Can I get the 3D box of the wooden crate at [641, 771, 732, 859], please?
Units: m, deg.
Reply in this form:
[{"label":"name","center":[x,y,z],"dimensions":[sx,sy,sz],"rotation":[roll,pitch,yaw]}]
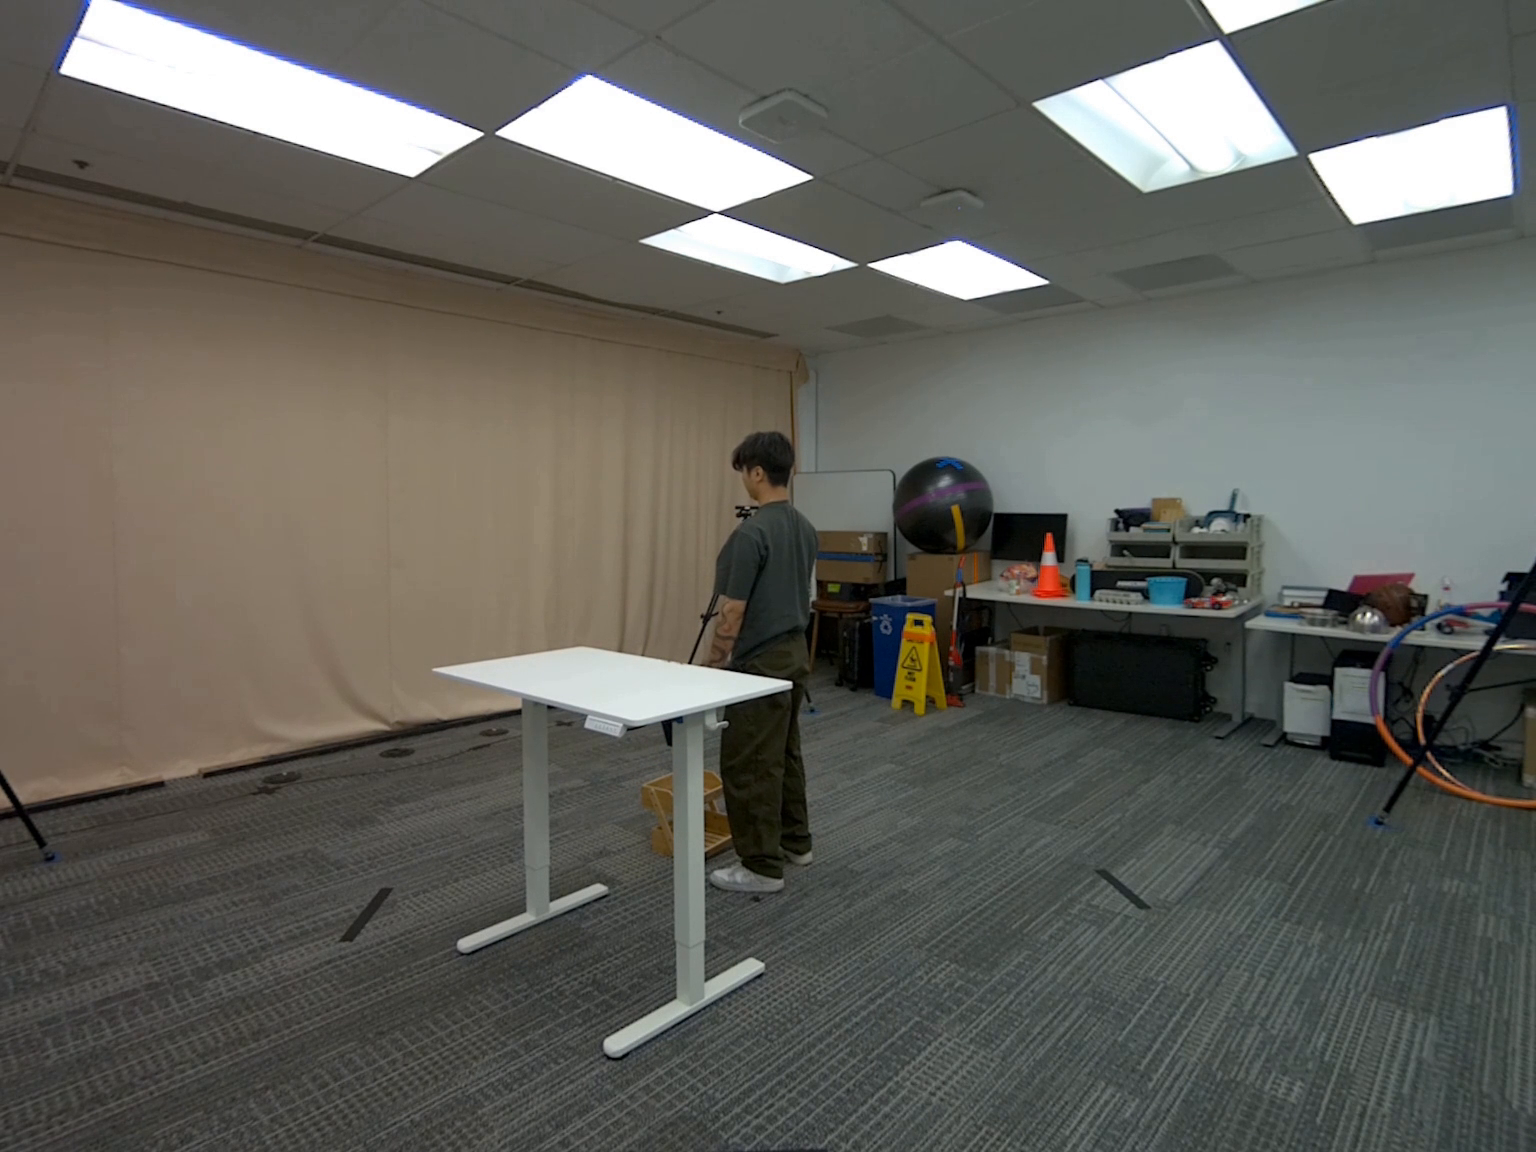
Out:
[{"label":"wooden crate","center":[-0.299,0.967,3.456],"dimensions":[0.311,0.273,0.315],"rotation":[0,3,34]}]
